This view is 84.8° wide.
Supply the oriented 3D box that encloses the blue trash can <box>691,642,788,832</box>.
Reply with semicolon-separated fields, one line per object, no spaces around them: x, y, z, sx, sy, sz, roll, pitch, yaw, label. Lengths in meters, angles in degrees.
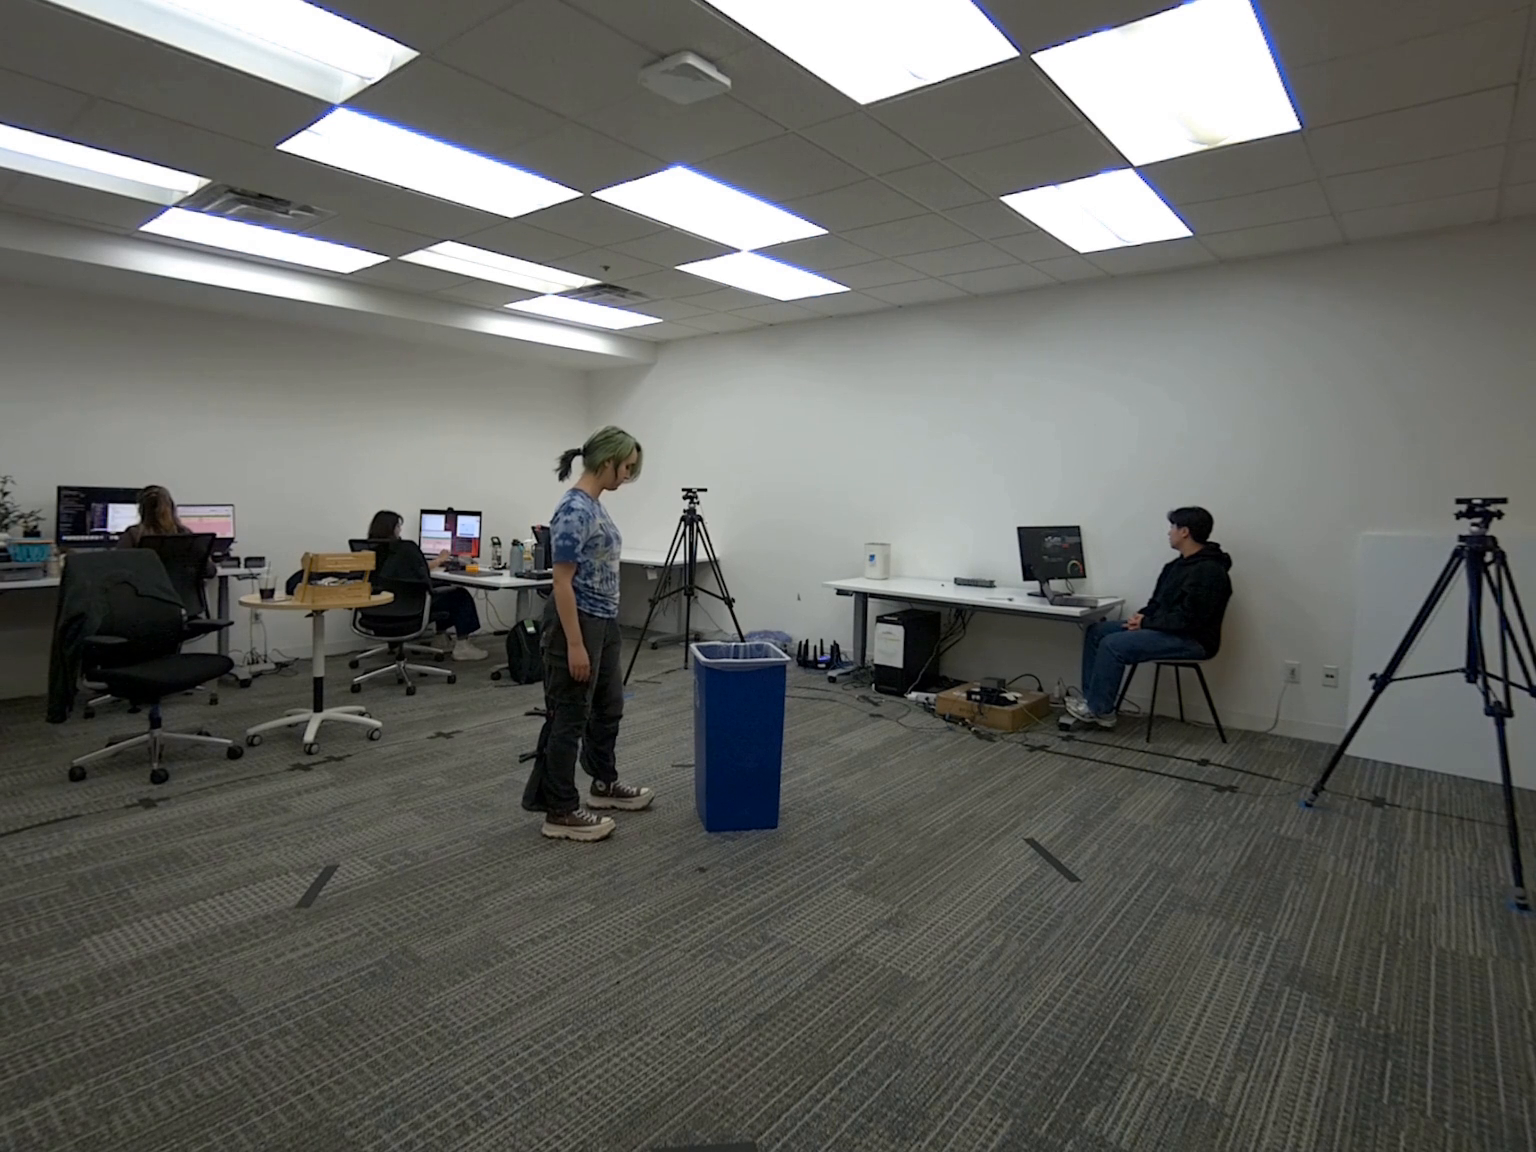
-0.140;0.670;3.594;0.373;0.711;0.380;0;4;-12;blue trash can
